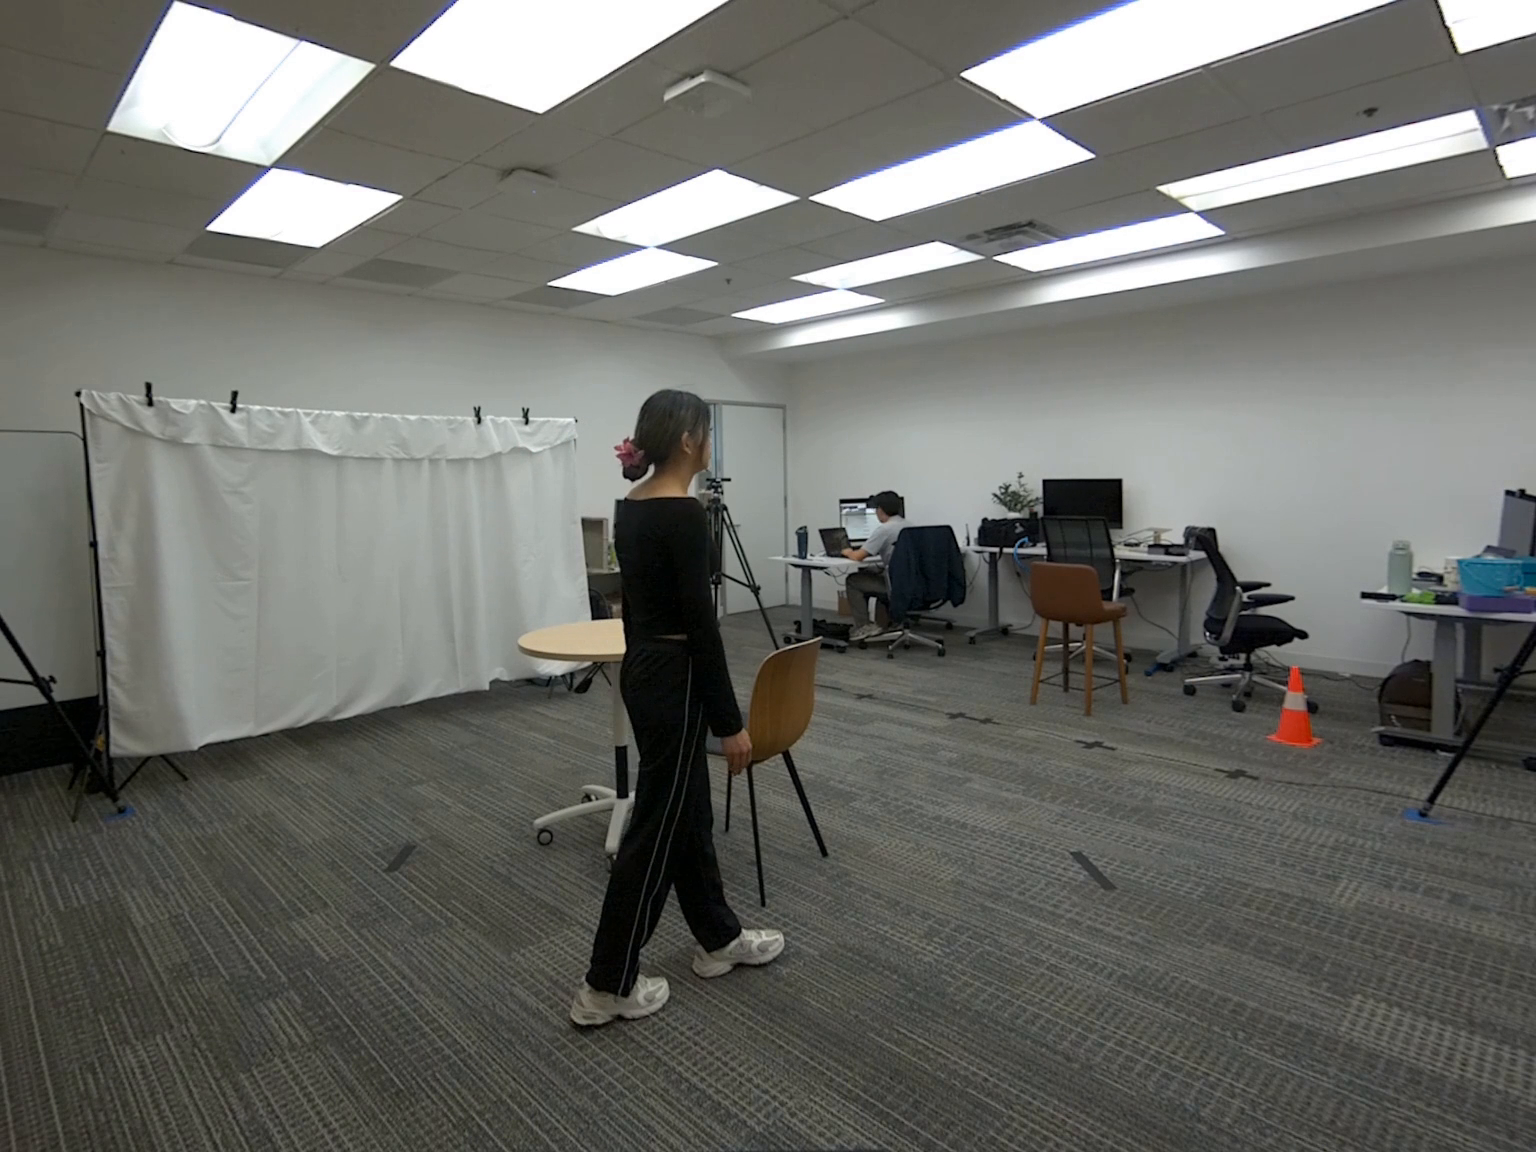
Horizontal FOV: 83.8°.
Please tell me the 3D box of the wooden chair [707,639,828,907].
[{"bbox_3d":[-0.098,0.621,3.064,0.539,0.872,0.467,7,8,33],"label":"wooden chair"}]
